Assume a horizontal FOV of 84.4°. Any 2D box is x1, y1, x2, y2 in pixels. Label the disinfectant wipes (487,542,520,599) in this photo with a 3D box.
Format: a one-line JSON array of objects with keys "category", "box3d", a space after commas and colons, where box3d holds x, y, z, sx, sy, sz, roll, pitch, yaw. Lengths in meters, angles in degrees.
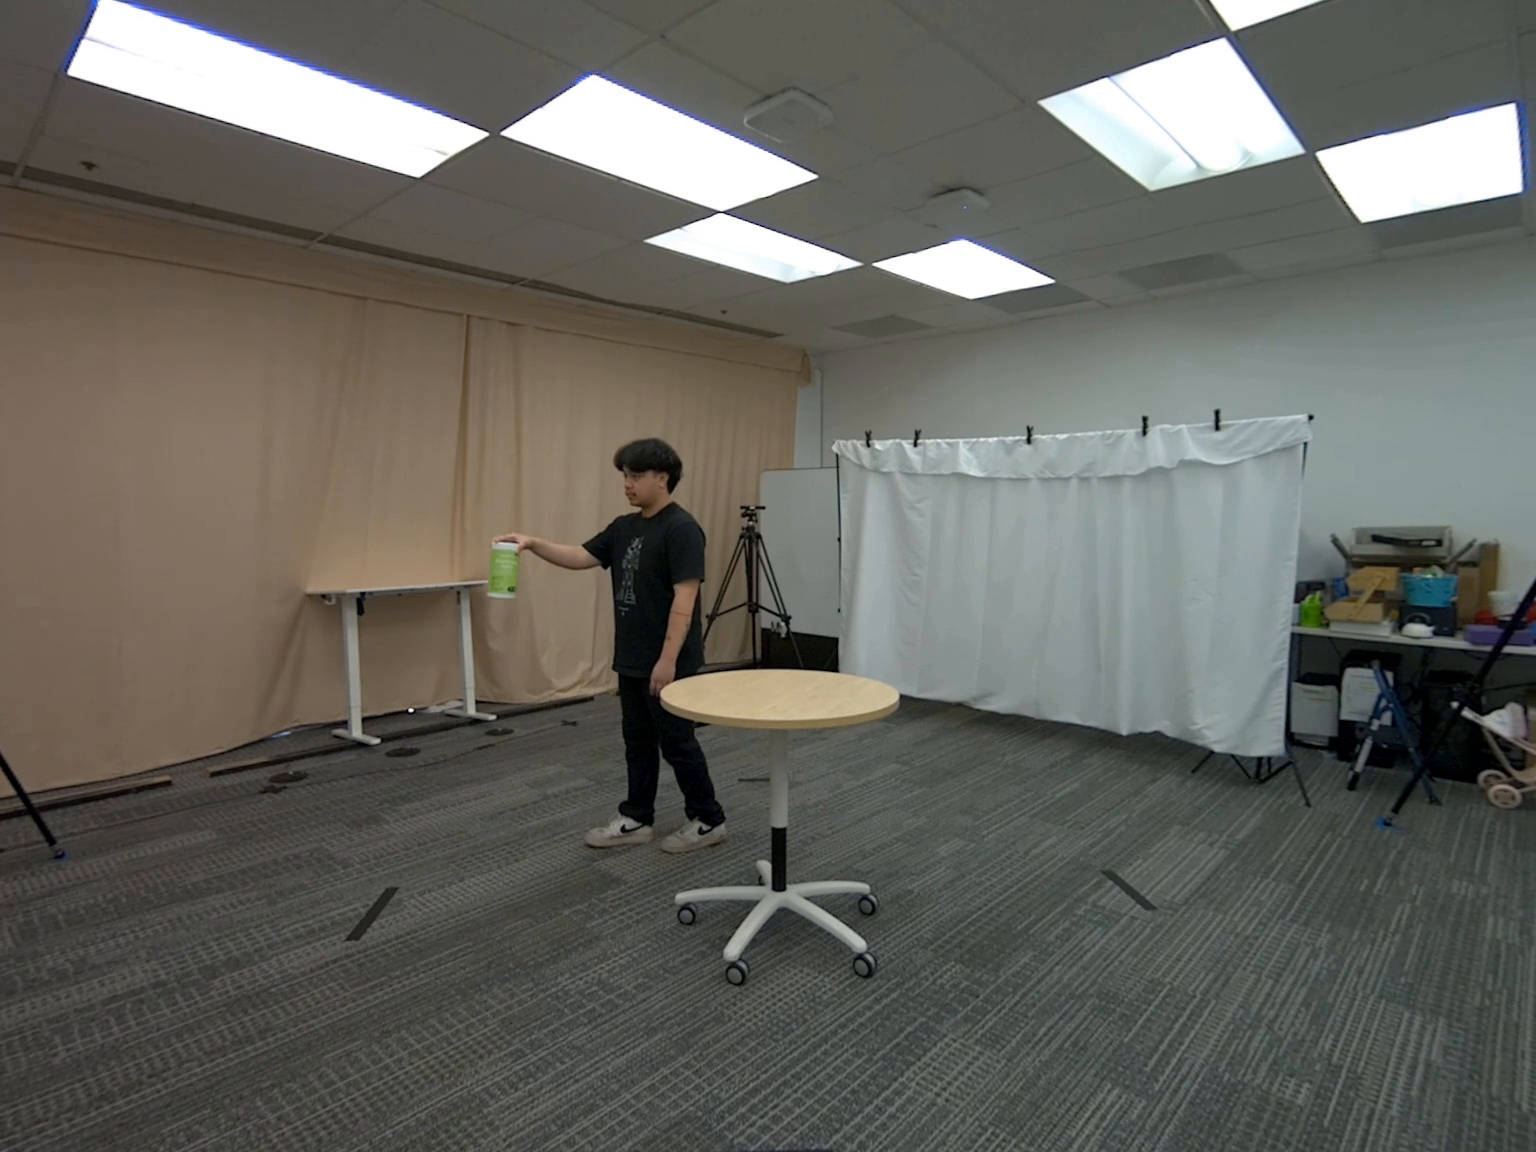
[{"category": "disinfectant wipes", "box3d": [-1.026, -0.018, 3.239, 0.118, 0.217, 0.118, 5, 0, -2]}]
